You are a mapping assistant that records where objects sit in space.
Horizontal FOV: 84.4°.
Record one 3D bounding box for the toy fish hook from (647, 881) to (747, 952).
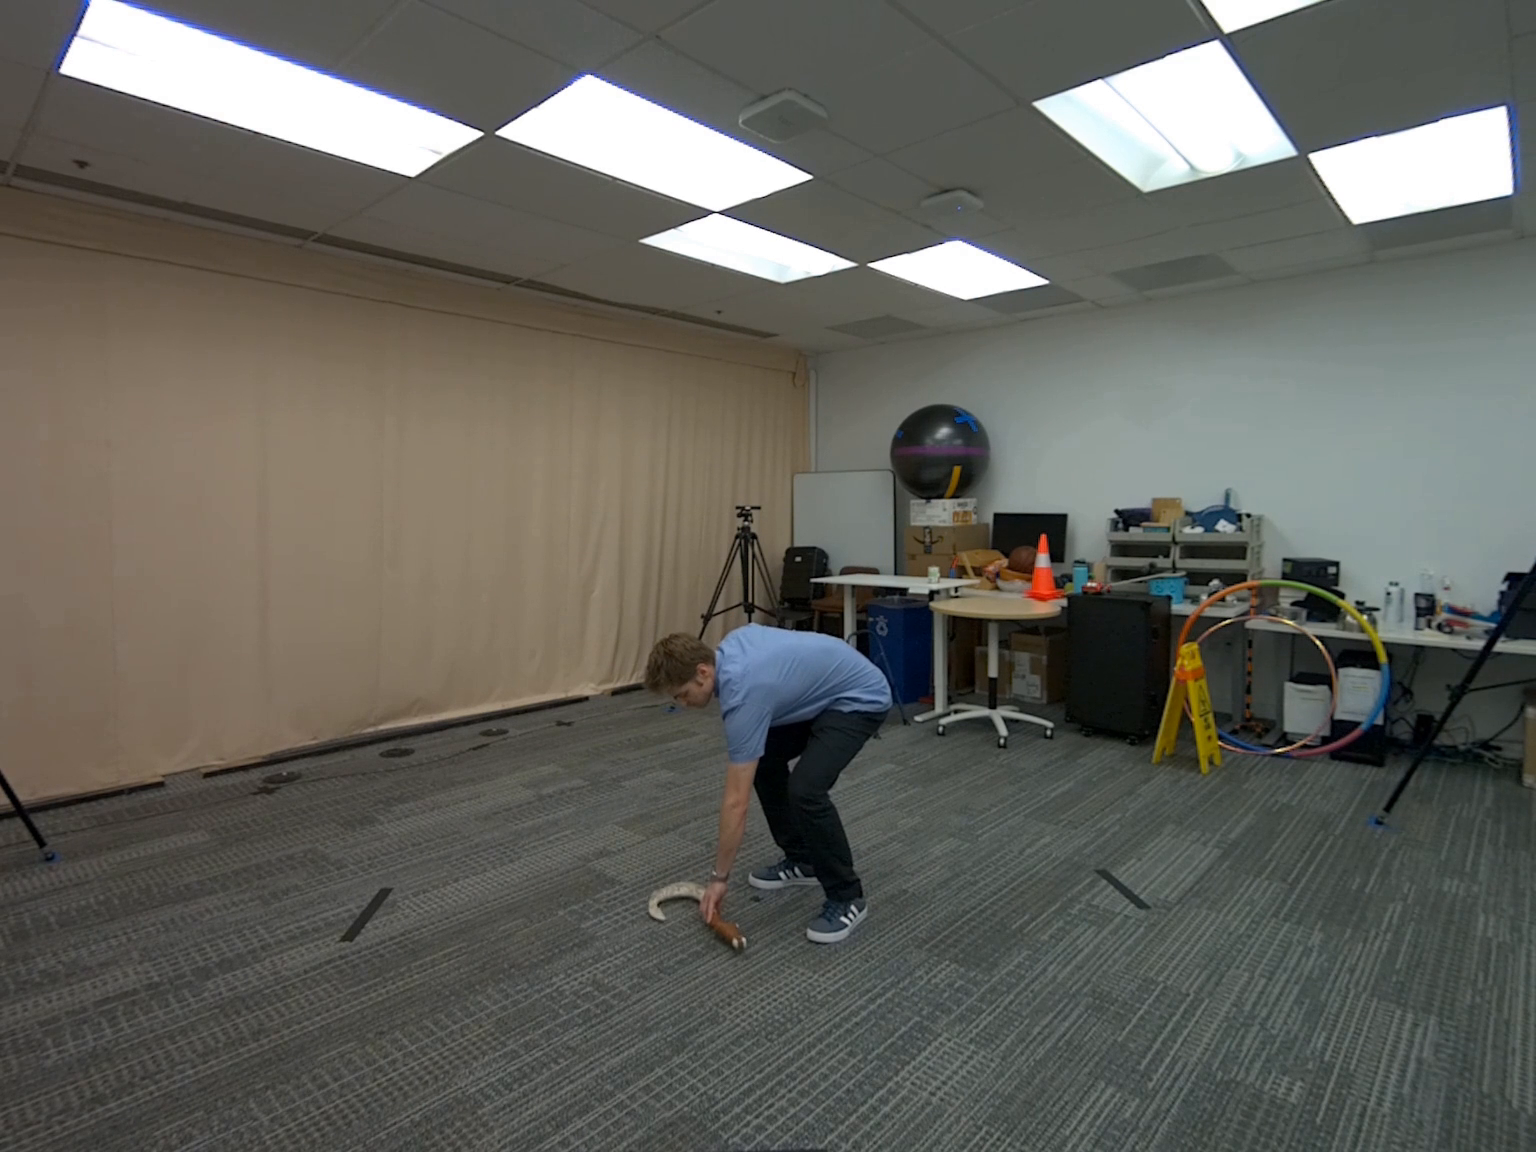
[{"bbox_3d":[-0.240,1.131,2.784,0.220,0.048,0.520,-13,8,-27],"label":"toy fish hook"}]
